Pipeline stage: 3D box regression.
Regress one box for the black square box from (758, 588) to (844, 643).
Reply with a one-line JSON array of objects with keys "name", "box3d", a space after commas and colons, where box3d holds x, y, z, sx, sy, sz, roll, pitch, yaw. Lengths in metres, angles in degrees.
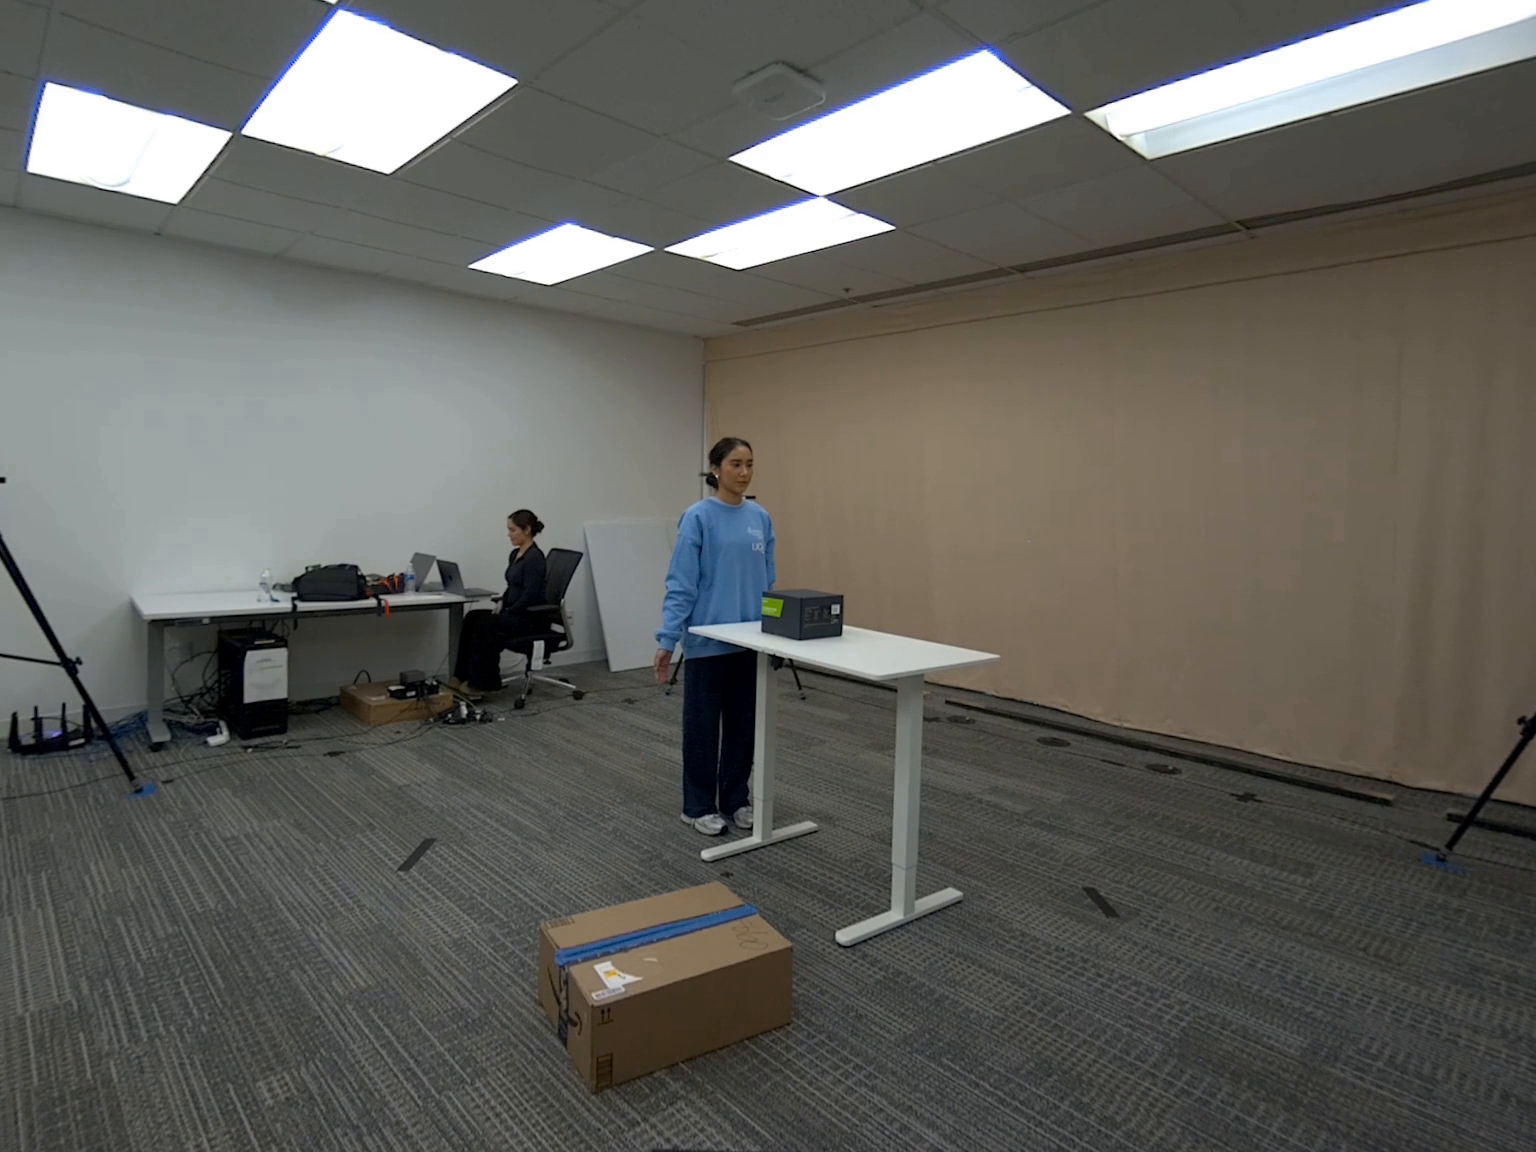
[{"name": "black square box", "box3d": [0.122, 0.142, 3.174, 0.212, 0.155, 0.234, -3, 6, -38]}]
